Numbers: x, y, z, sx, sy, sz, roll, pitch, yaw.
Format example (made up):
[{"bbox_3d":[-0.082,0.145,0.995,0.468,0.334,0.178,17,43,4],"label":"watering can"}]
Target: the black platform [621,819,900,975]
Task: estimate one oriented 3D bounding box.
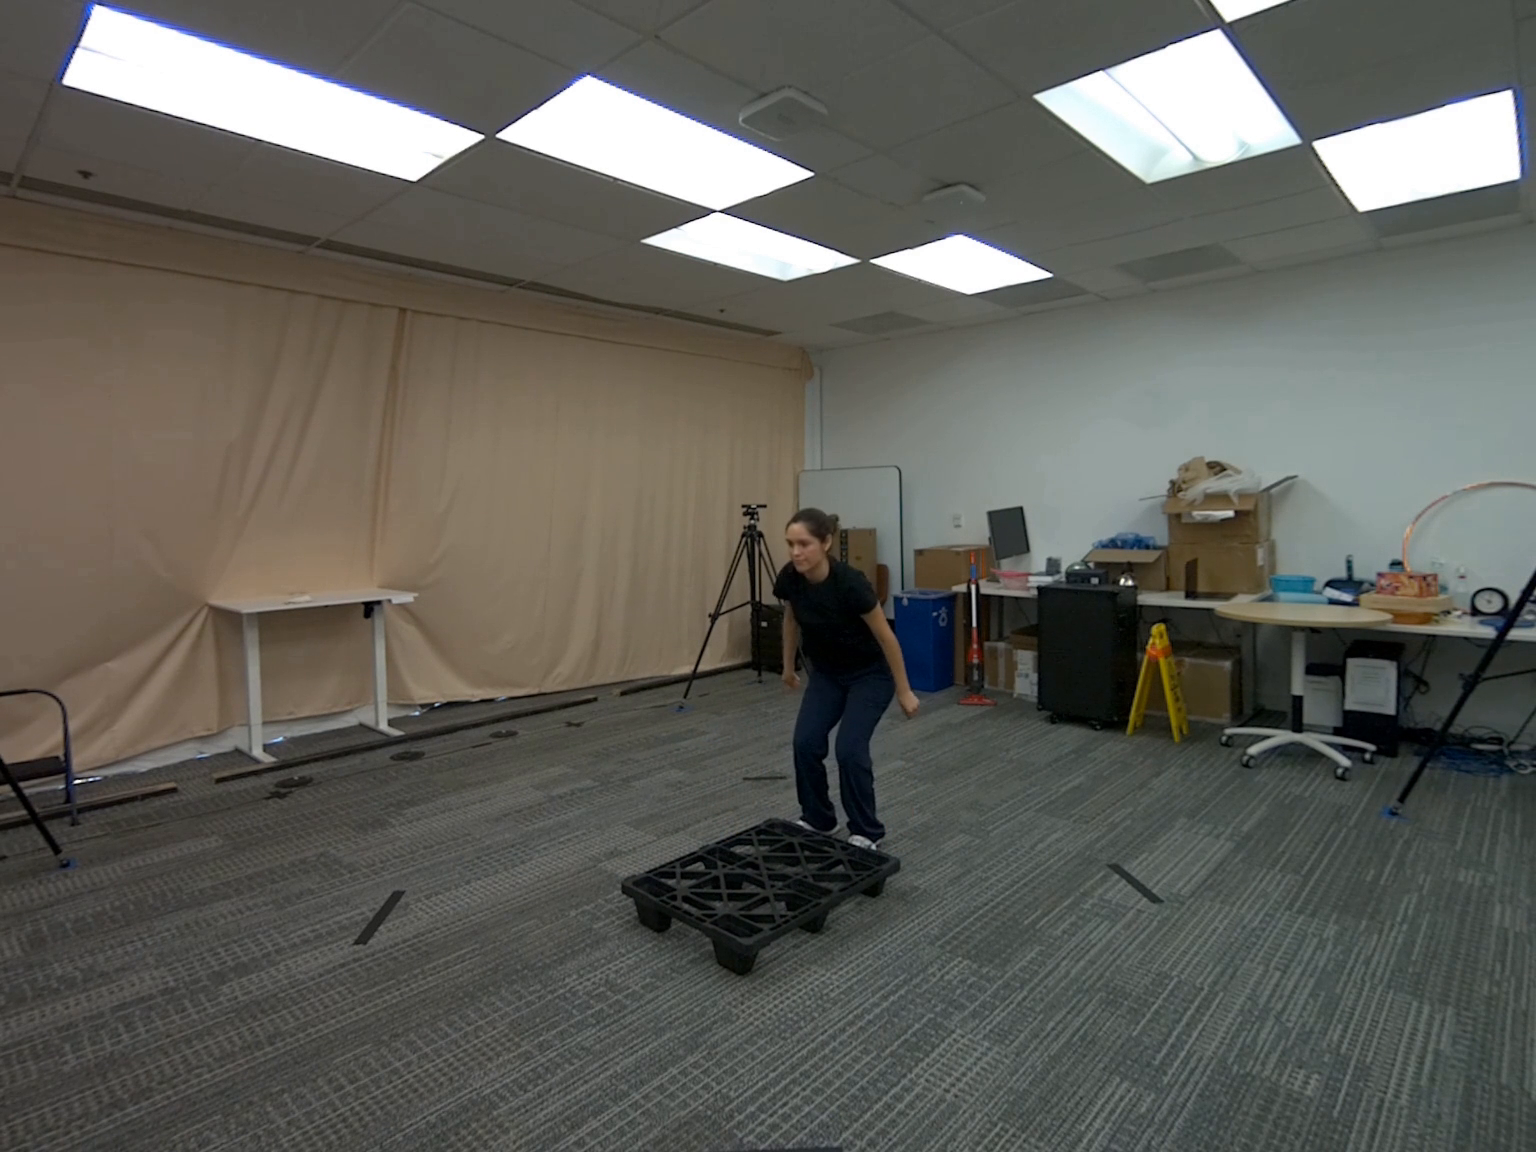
[{"bbox_3d":[-0.007,1.084,2.903,0.625,0.143,0.781,3,6,43],"label":"black platform"}]
